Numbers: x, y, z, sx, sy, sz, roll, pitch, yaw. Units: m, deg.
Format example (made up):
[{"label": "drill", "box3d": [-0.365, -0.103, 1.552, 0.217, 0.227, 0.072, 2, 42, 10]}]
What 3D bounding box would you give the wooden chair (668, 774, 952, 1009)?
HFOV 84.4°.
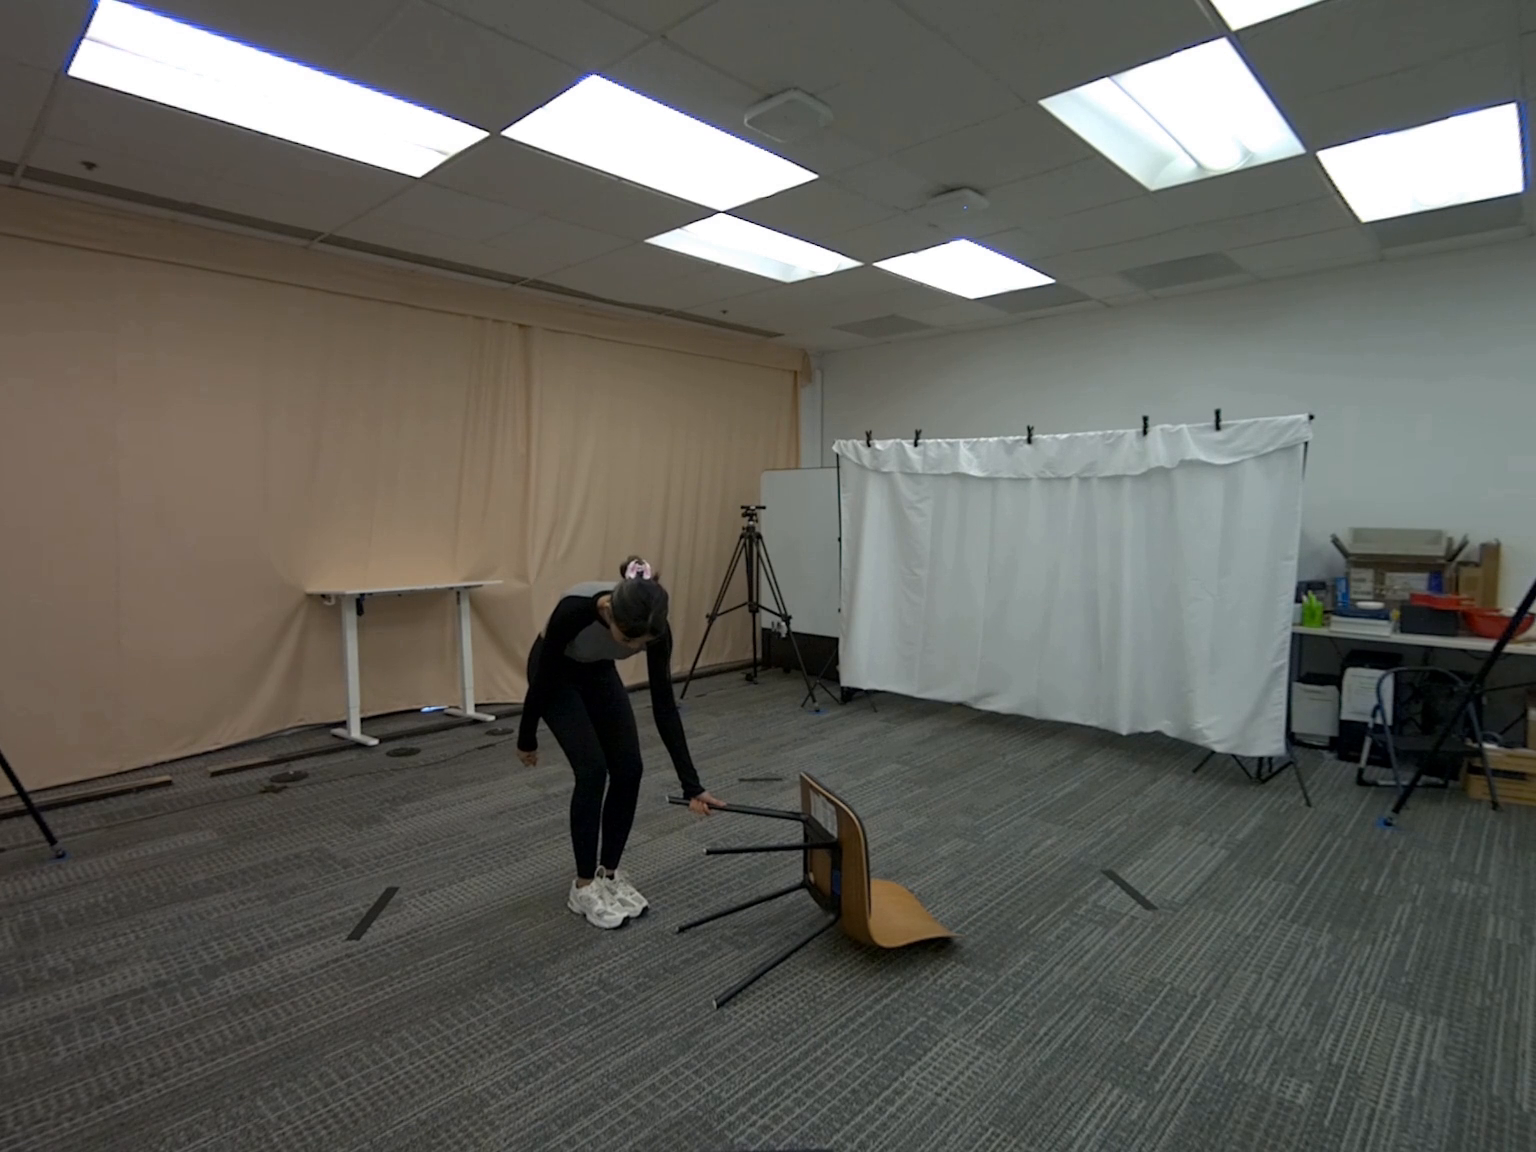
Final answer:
[{"label": "wooden chair", "box3d": [0.168, 0.910, 2.643, 0.862, 0.522, 0.487, 0, 3, -17]}]
